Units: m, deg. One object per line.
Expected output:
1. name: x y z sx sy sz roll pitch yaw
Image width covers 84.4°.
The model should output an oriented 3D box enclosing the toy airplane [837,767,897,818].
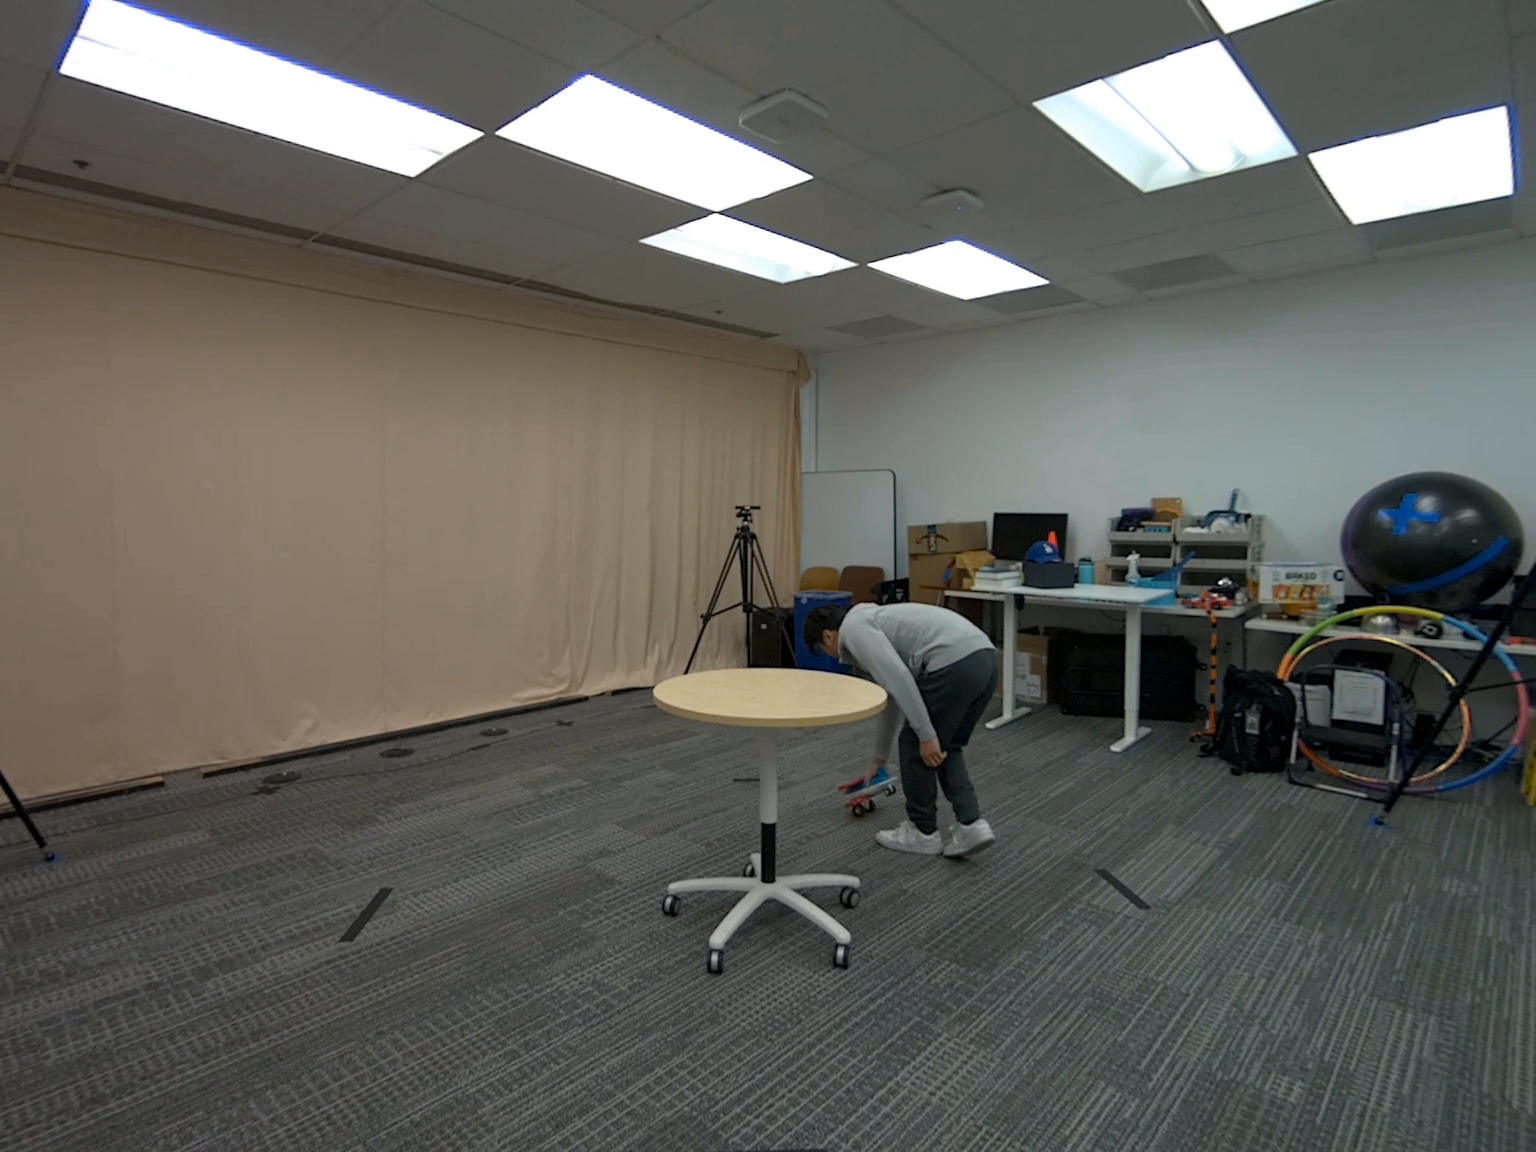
1. toy airplane: 0.467 0.961 3.801 0.260 0.160 0.244 -35 -22 7
